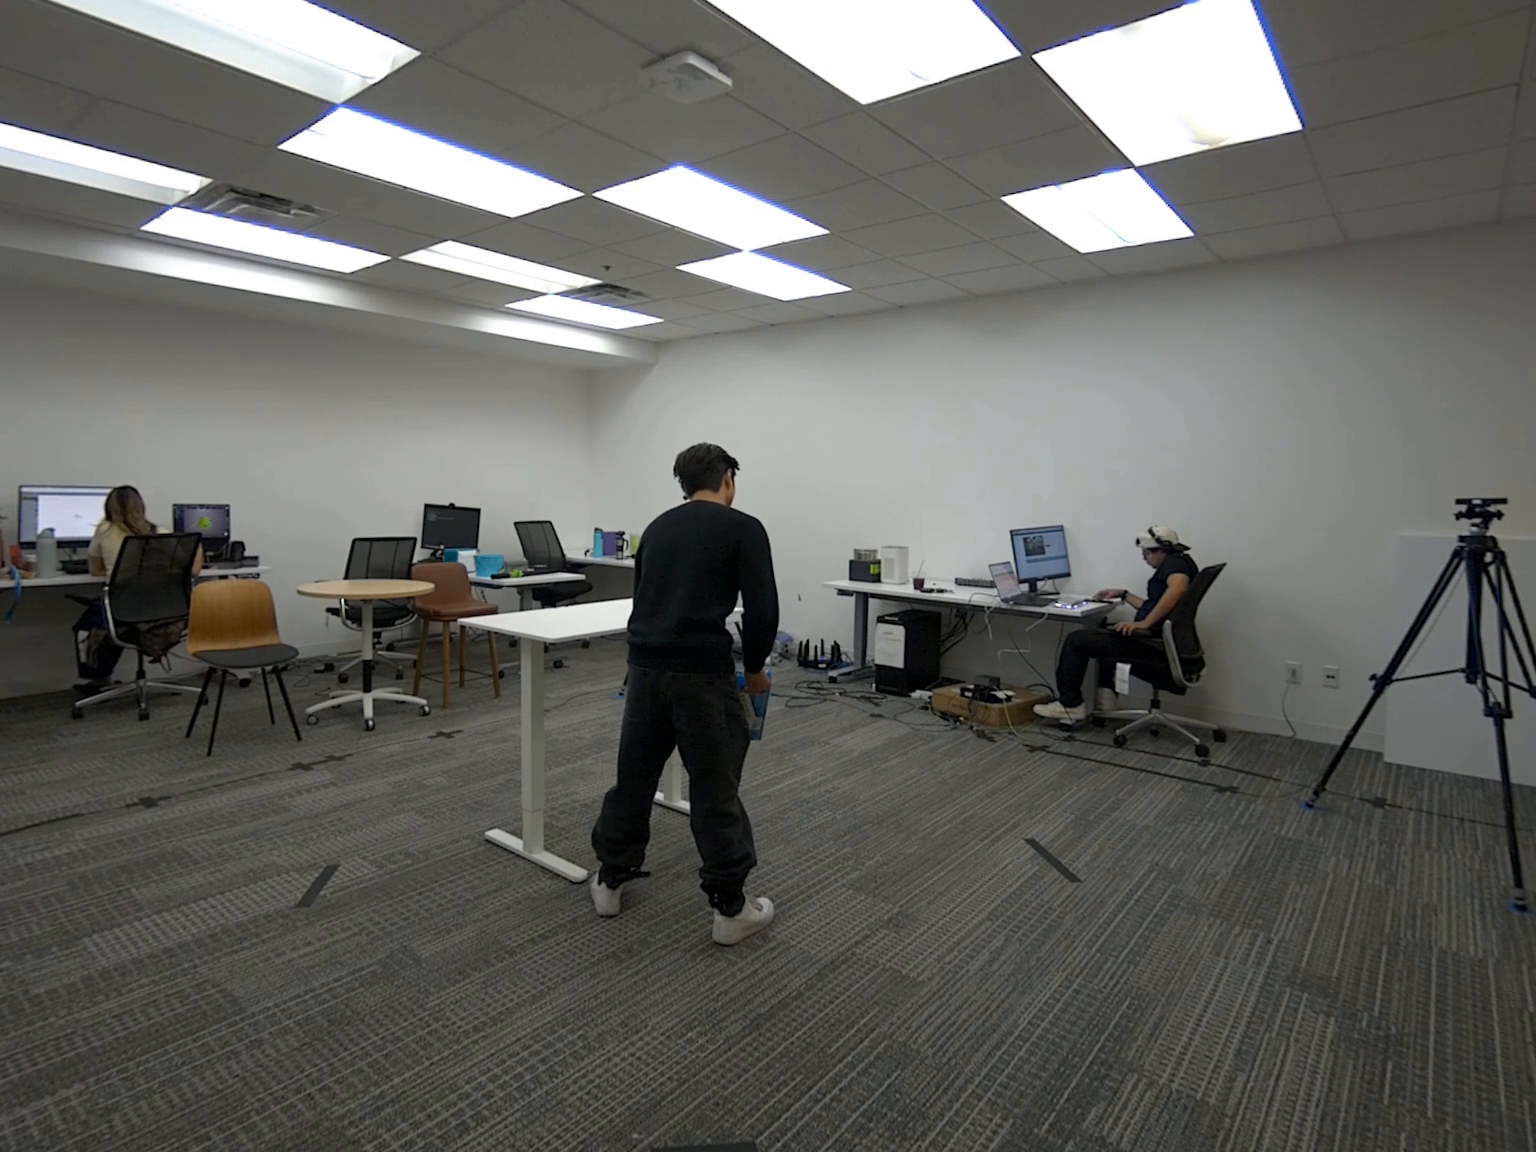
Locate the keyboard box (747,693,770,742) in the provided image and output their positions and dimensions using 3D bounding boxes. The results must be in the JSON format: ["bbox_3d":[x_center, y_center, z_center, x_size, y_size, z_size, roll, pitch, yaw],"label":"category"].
[{"bbox_3d":[-0.107,0.454,2.986,0.175,0.061,0.426,2,-37,-3],"label":"keyboard box"}]
